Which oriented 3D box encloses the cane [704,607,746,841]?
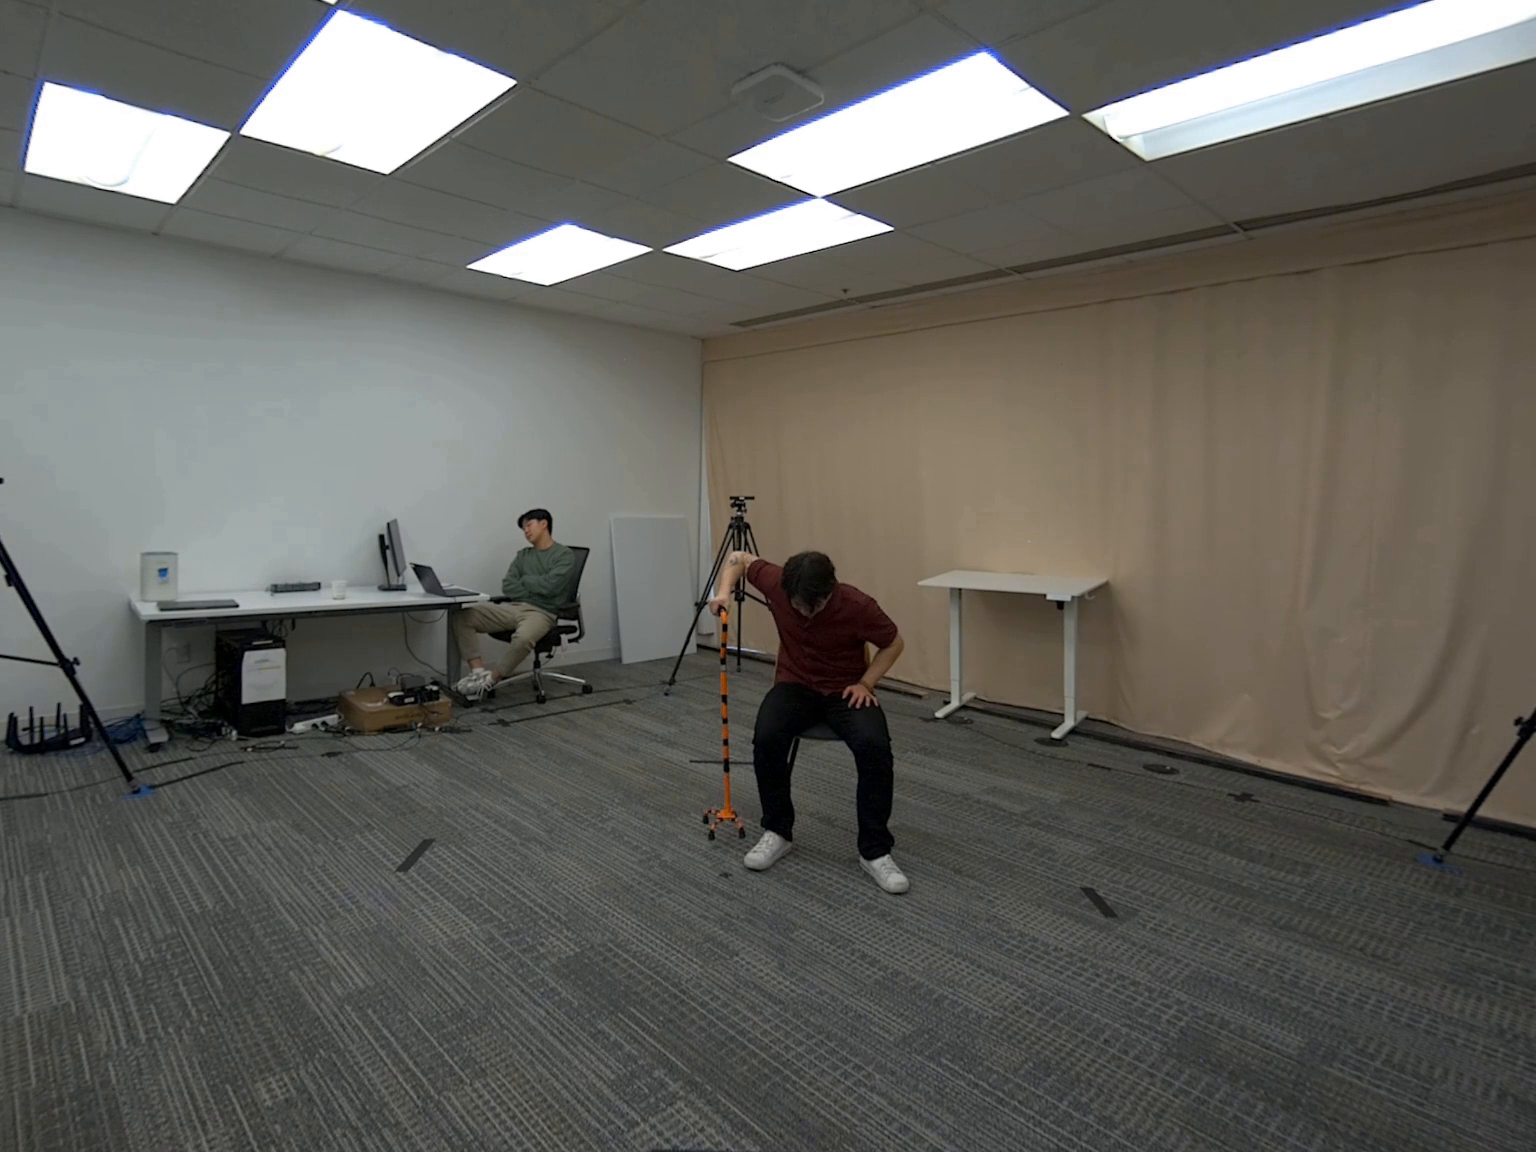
[{"bbox_3d":[-0.198,0.575,3.397,0.150,0.906,0.209,-2,3,-16],"label":"cane"}]
